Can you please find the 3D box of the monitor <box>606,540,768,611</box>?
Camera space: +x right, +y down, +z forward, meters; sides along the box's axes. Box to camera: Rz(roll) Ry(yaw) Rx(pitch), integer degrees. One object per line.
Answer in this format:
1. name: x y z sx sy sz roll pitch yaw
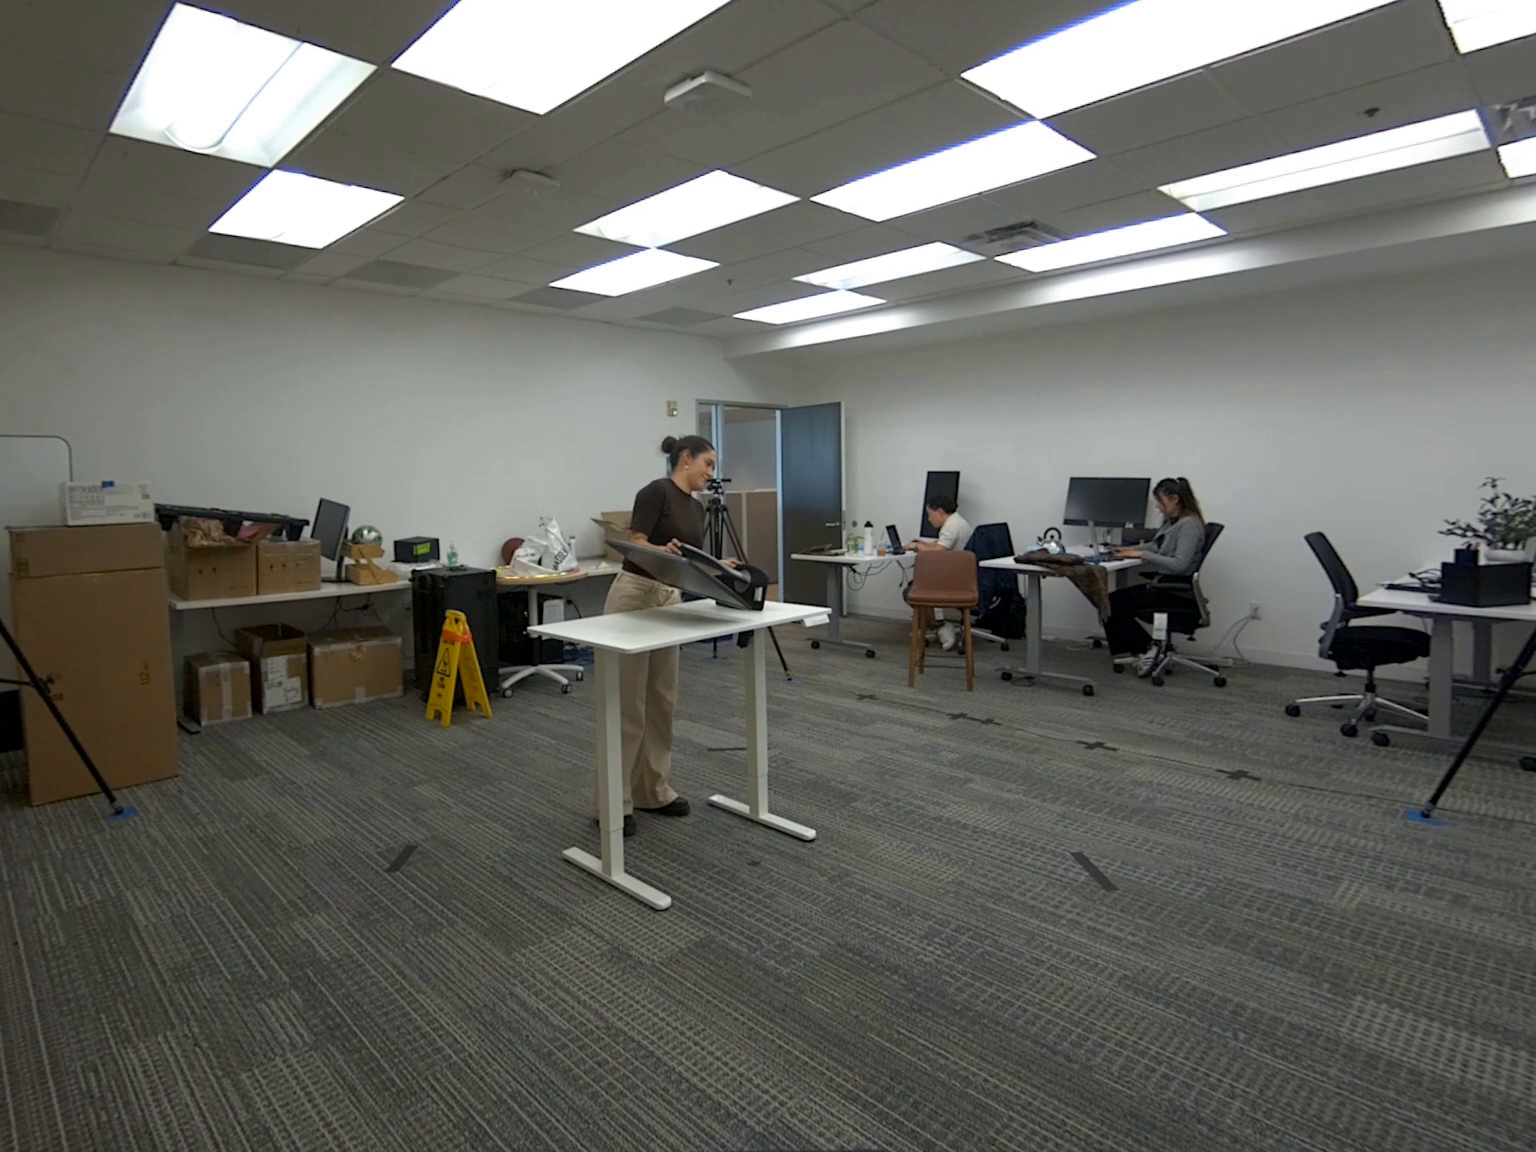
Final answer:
1. monitor: -0.281 -0.015 3.234 0.504 0.188 0.556 21 -8 -38
